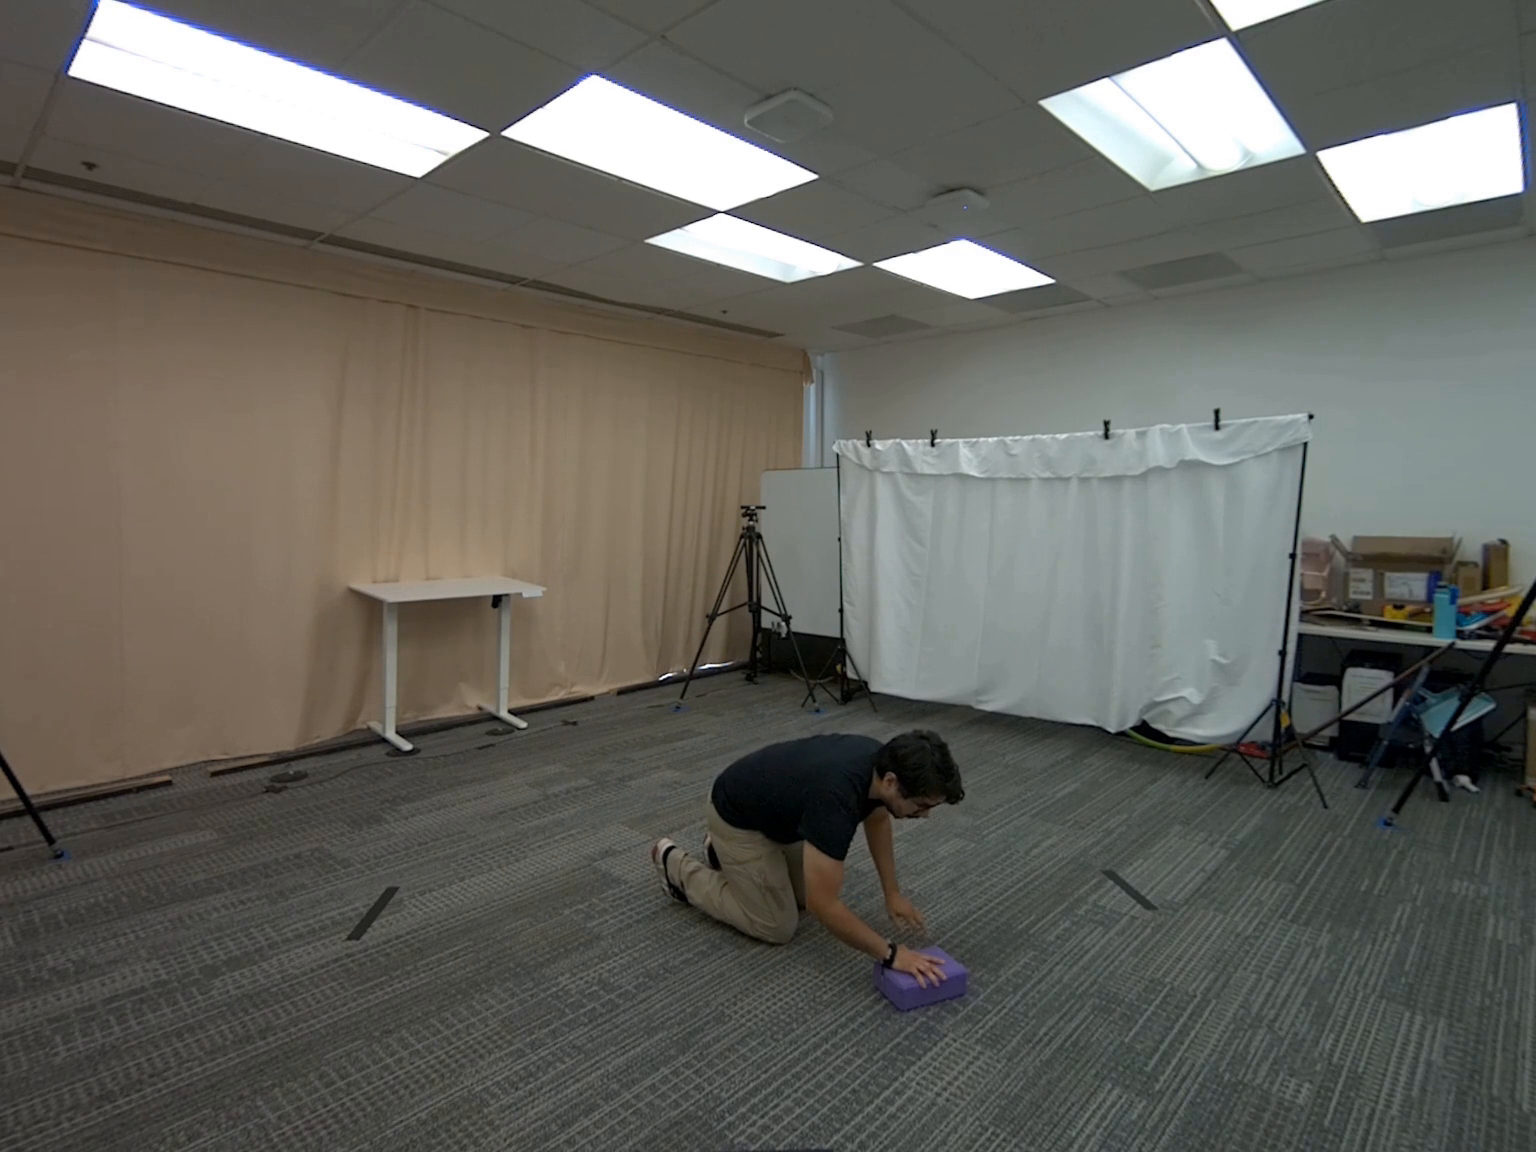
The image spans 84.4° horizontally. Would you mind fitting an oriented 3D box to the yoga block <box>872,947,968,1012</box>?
[{"bbox_3d":[0.443,1.152,2.410,0.224,0.076,0.153,-3,7,-23],"label":"yoga block"}]
